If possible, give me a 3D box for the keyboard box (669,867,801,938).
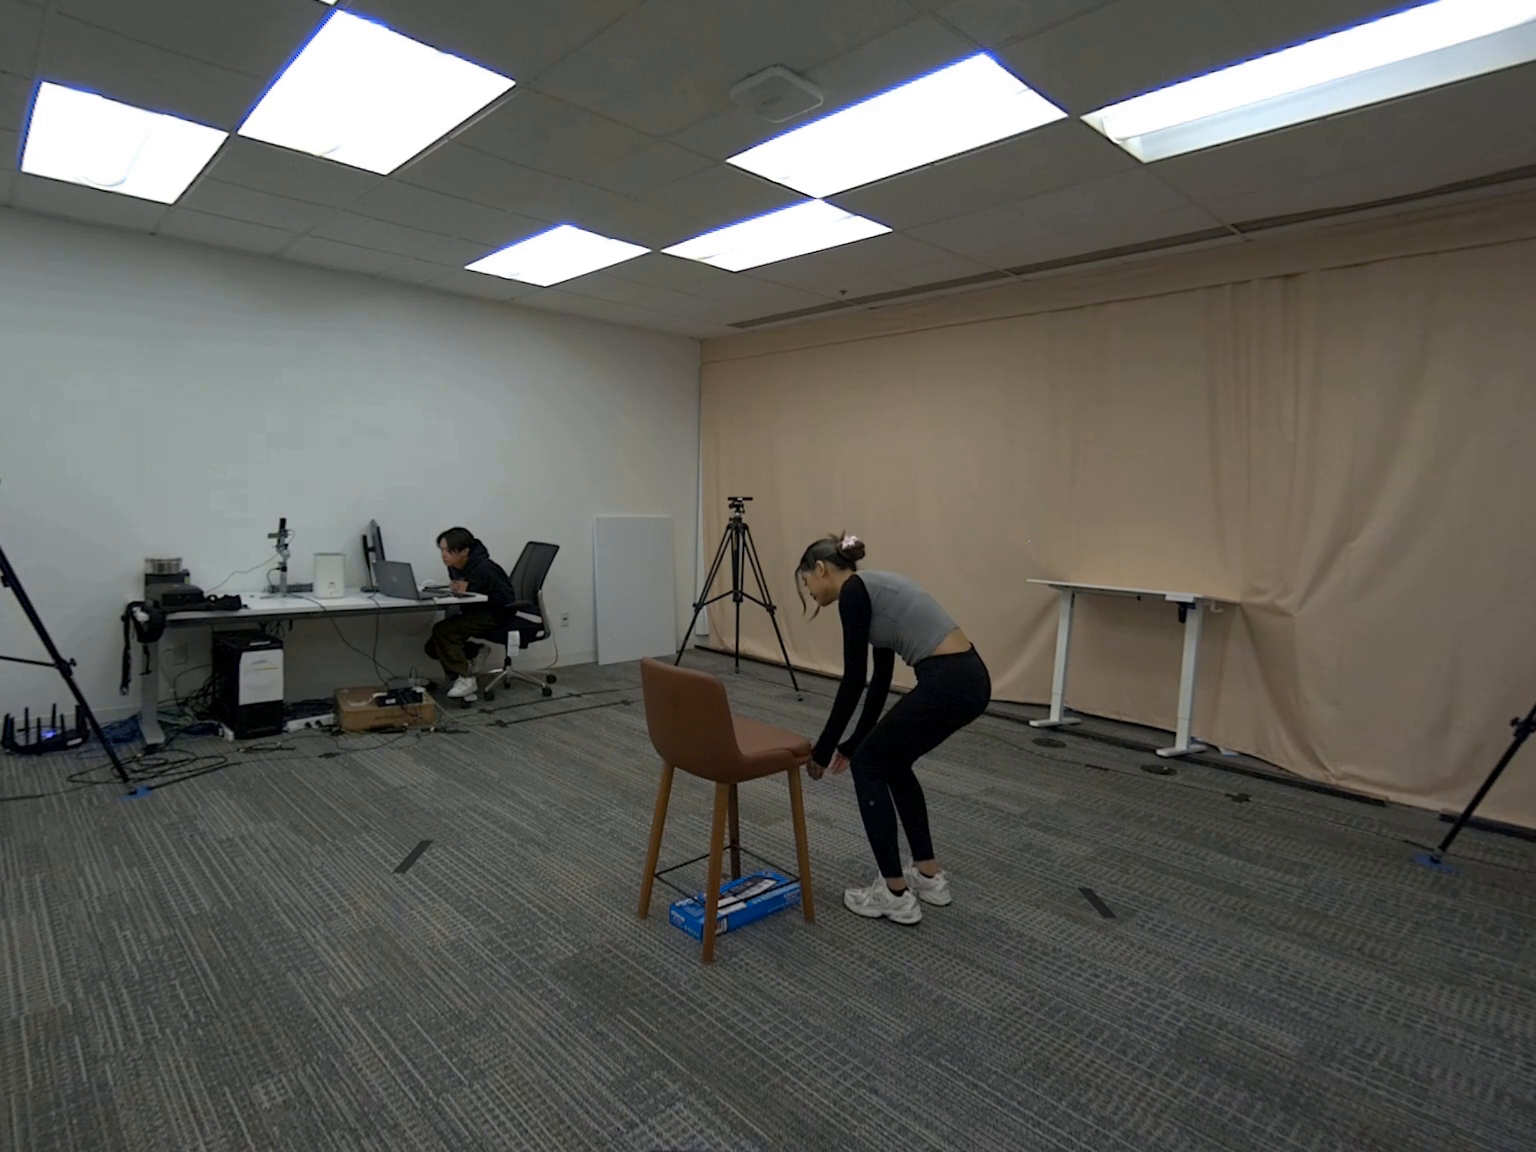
[{"bbox_3d":[-0.111,1.108,2.829,0.427,0.059,0.180,-4,8,-42],"label":"keyboard box"}]
